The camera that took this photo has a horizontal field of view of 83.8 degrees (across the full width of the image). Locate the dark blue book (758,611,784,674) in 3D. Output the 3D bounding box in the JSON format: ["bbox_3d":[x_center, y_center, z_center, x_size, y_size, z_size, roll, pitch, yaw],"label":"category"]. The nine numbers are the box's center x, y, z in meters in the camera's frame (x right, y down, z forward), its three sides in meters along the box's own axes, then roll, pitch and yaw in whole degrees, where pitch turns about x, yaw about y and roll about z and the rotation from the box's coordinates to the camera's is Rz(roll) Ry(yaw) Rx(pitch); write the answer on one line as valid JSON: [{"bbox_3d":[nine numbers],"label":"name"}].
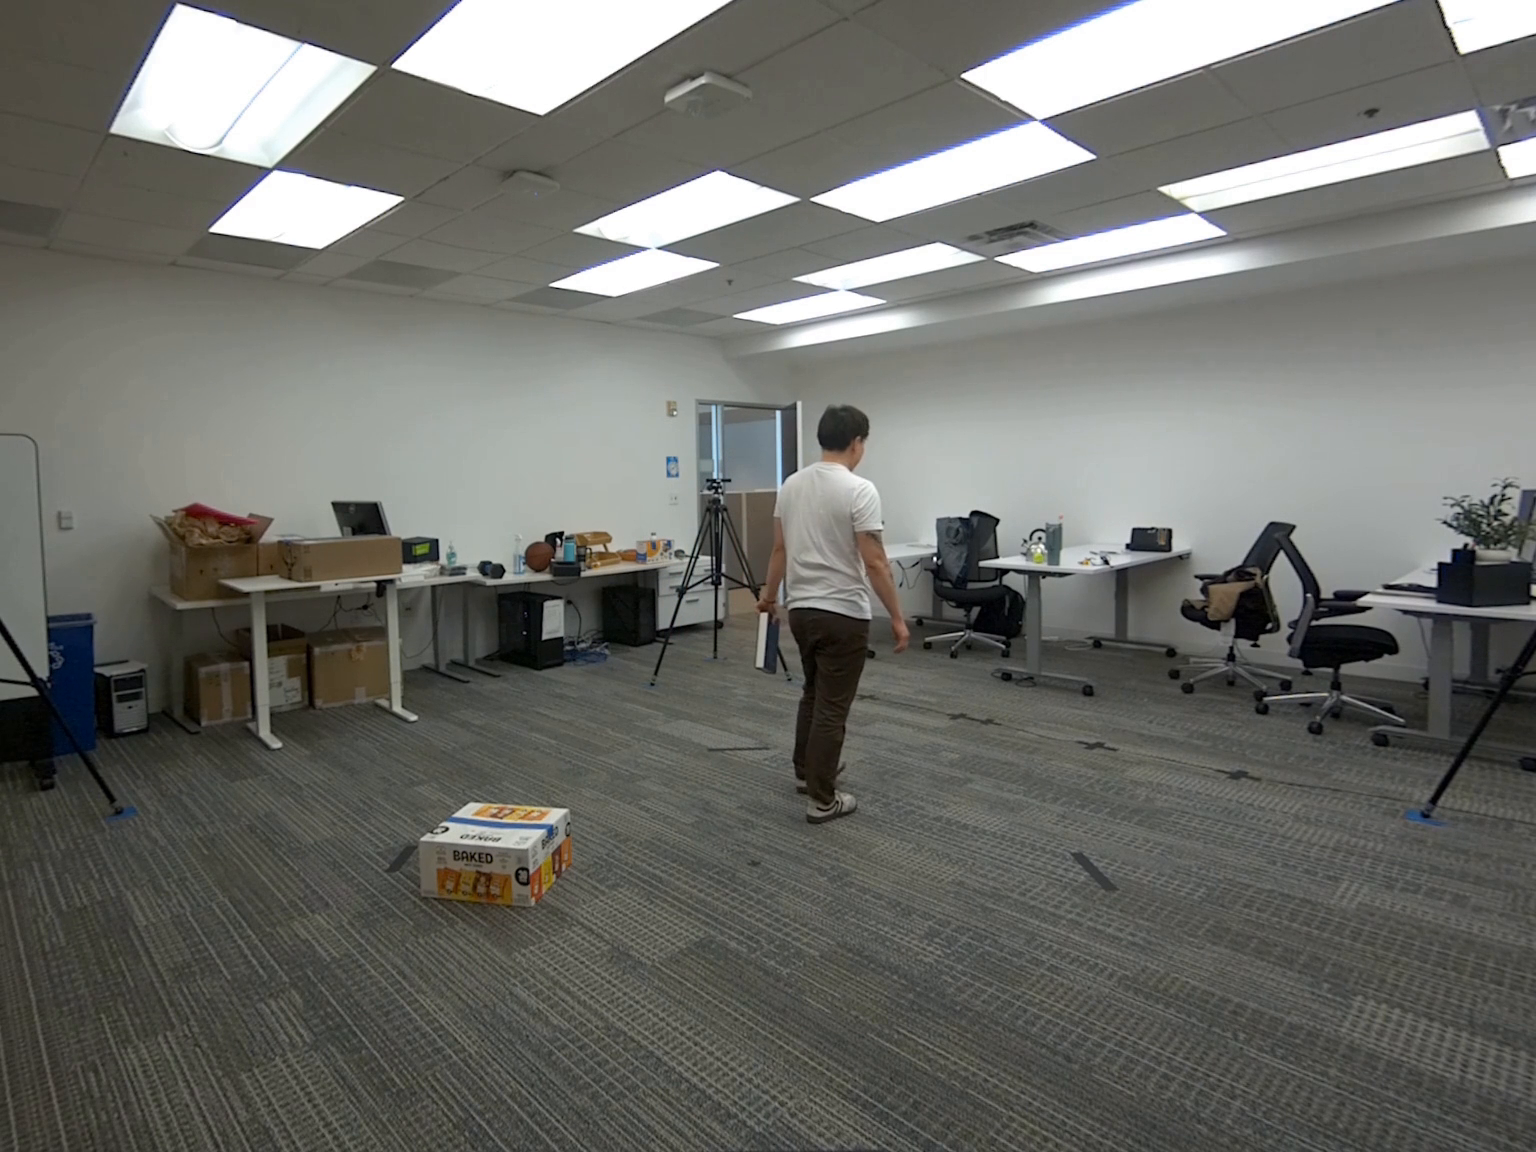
[{"bbox_3d":[0.012,0.290,3.741,0.046,0.248,0.158,-3,-17,20],"label":"dark blue book"}]
